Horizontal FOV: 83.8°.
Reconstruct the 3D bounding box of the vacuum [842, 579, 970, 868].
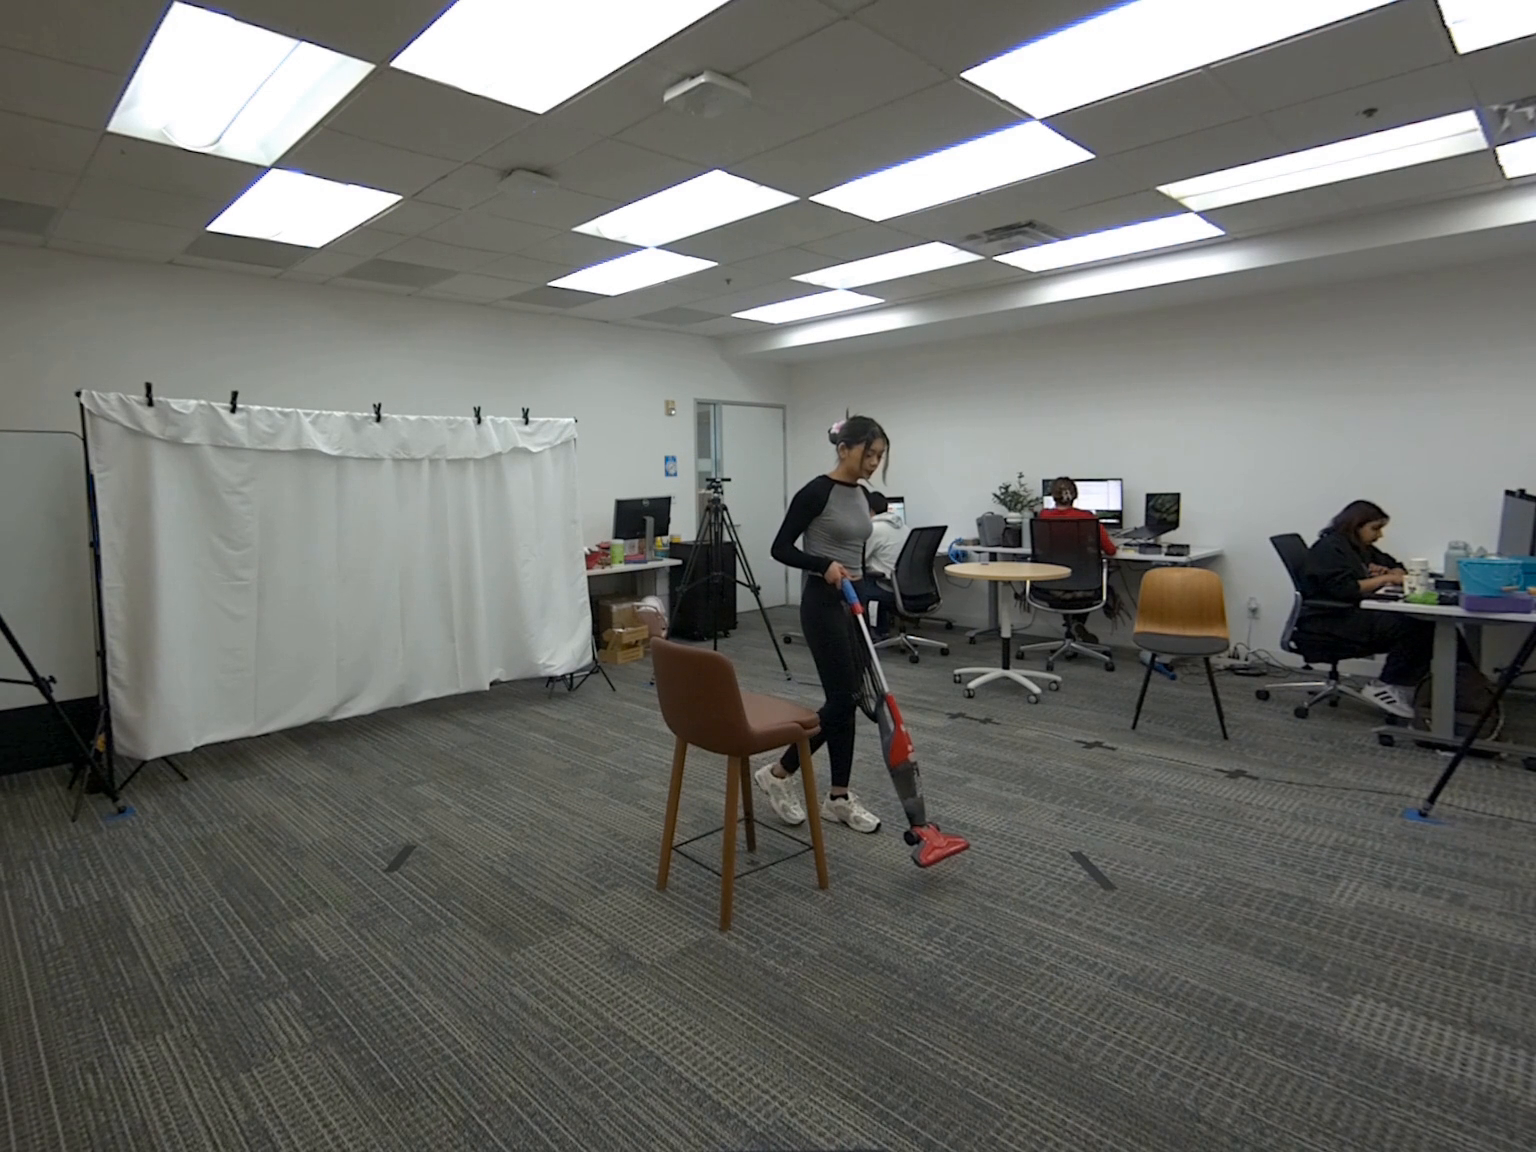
[{"bbox_3d":[0.404,0.438,3.082,0.246,1.070,0.145,-6,-22,-40],"label":"vacuum"}]
